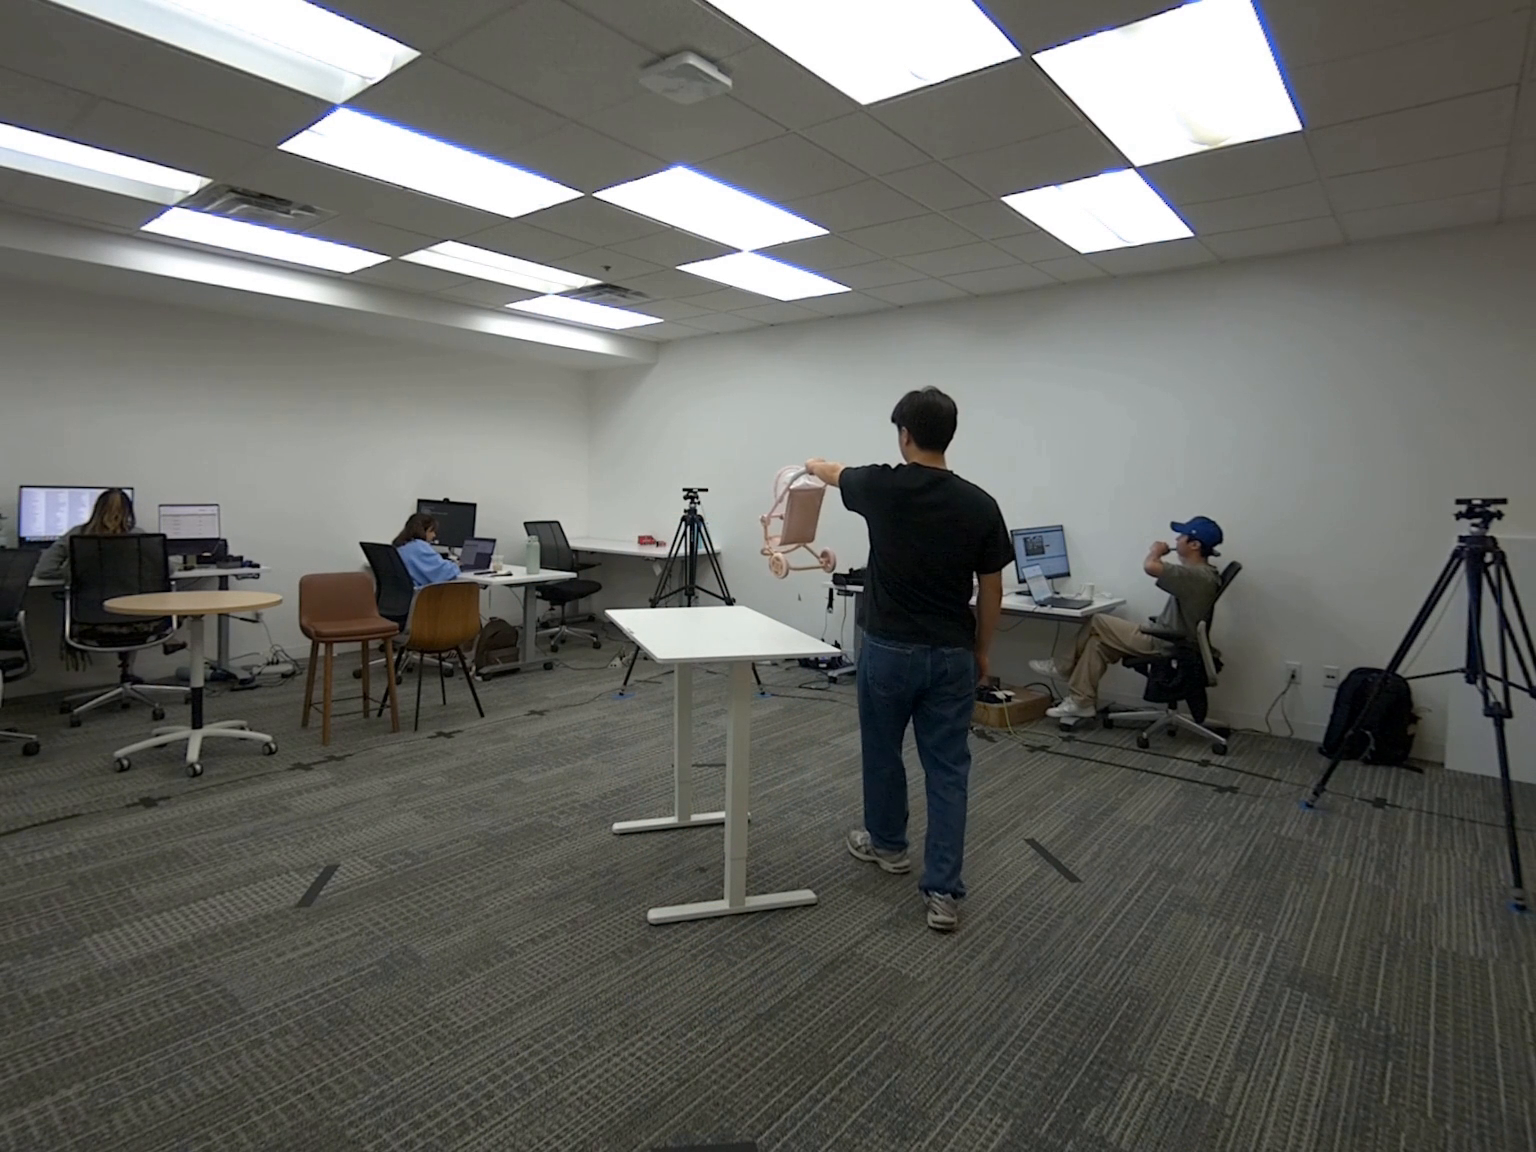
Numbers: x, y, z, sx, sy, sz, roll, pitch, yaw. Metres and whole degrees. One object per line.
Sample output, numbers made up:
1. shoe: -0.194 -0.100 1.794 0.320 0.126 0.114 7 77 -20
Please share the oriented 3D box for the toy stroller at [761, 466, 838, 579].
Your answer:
1. toy stroller: 0.094 -0.240 3.673 0.275 0.527 0.354 -5 17 -26
